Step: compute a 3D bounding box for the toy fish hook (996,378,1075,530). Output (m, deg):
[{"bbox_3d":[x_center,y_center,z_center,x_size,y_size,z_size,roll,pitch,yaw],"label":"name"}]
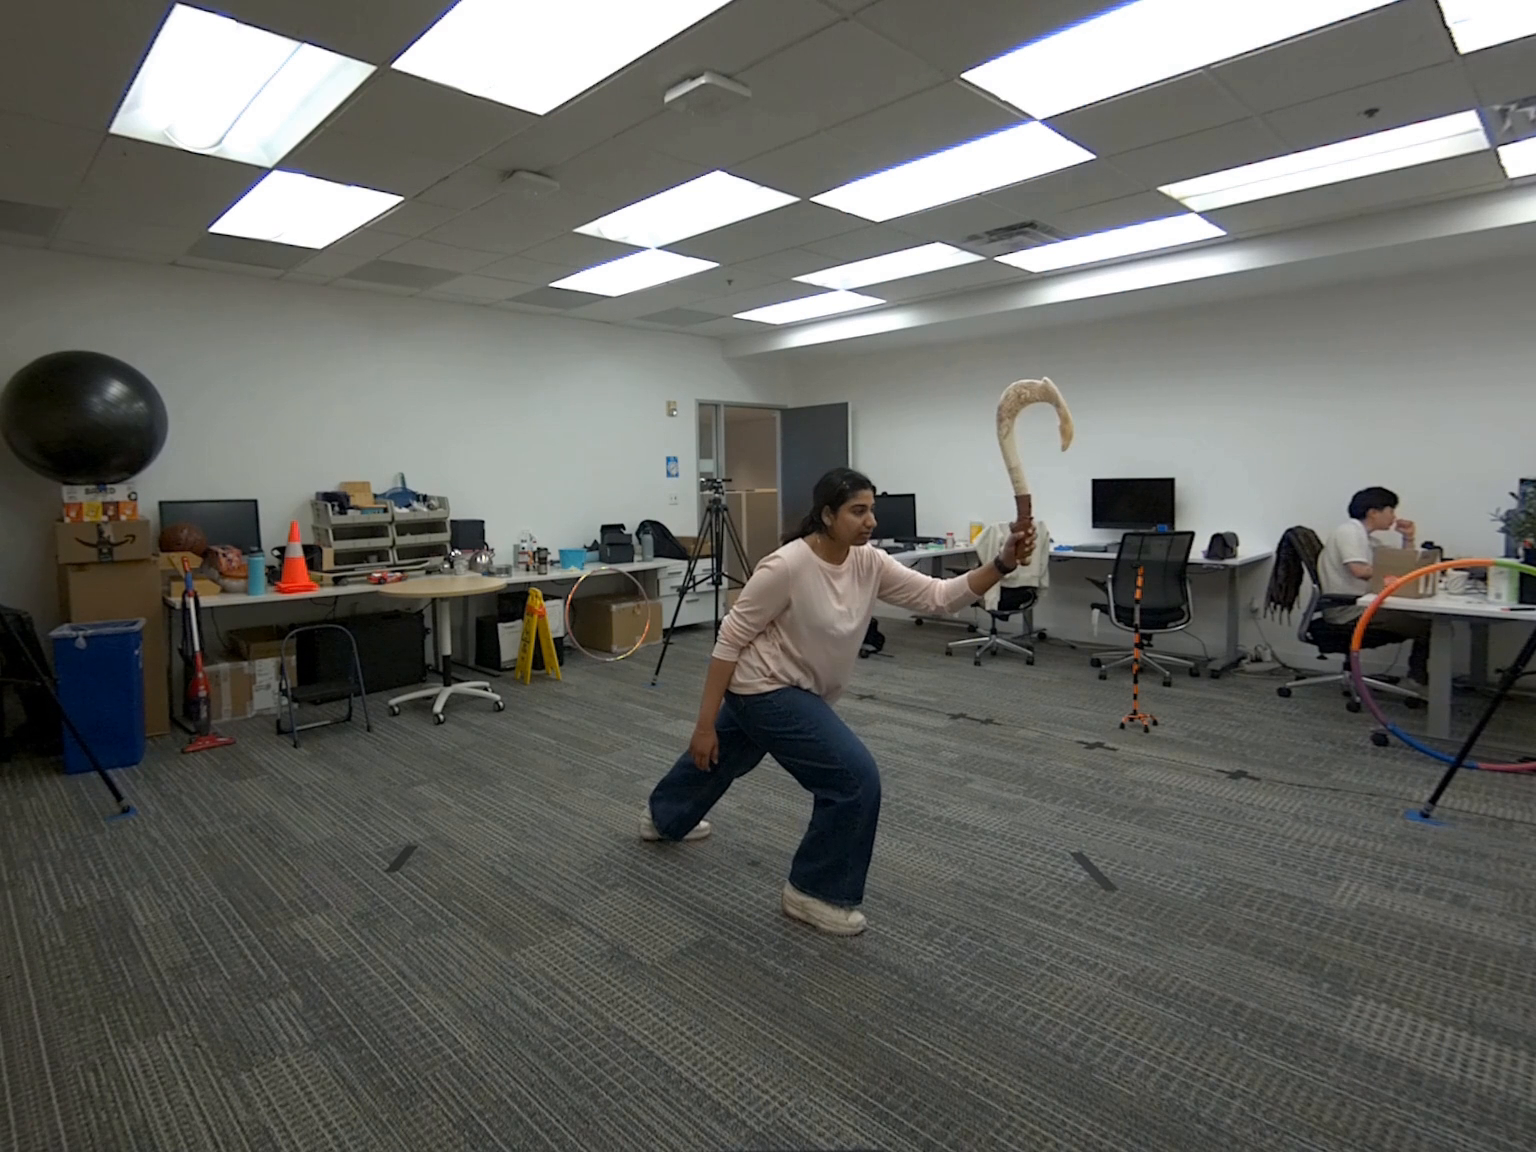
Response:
[{"bbox_3d":[0.719,-0.281,2.307,0.047,0.503,0.231,-8,7,-34],"label":"toy fish hook"}]
